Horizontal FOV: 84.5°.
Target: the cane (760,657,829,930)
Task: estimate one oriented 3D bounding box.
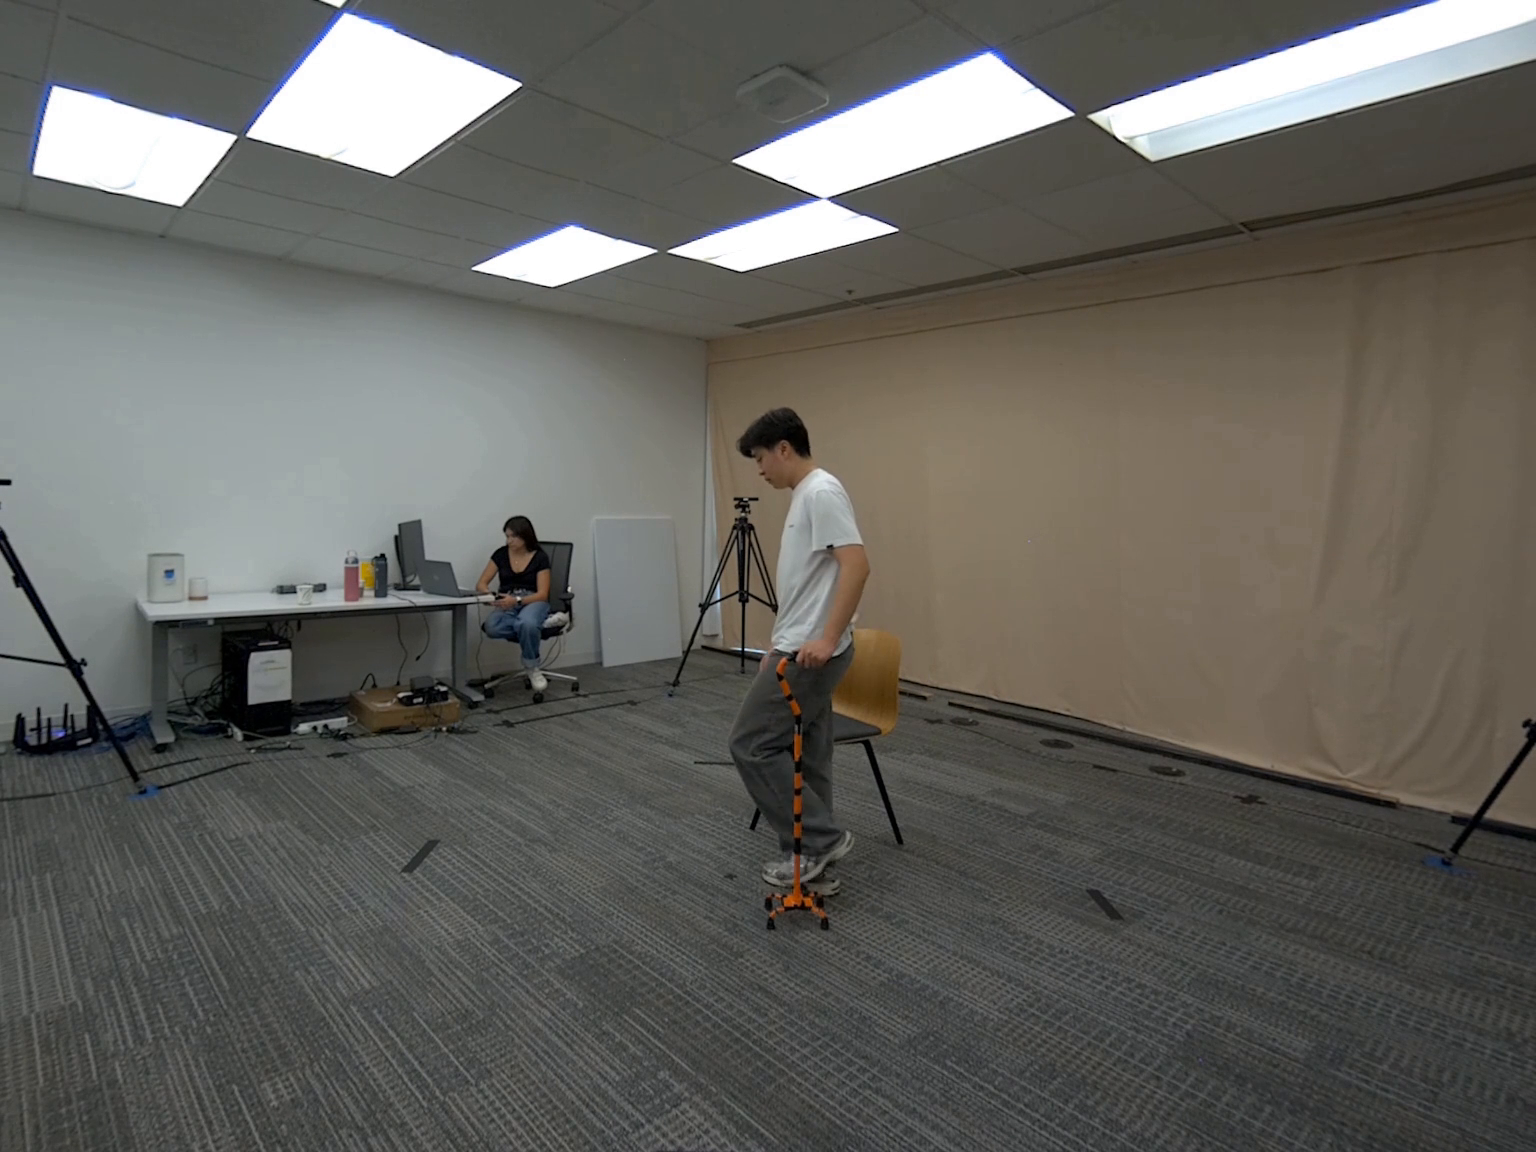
[{"bbox_3d":[0.086,0.694,2.722,0.207,0.902,0.152,0,9,1],"label":"cane"}]
